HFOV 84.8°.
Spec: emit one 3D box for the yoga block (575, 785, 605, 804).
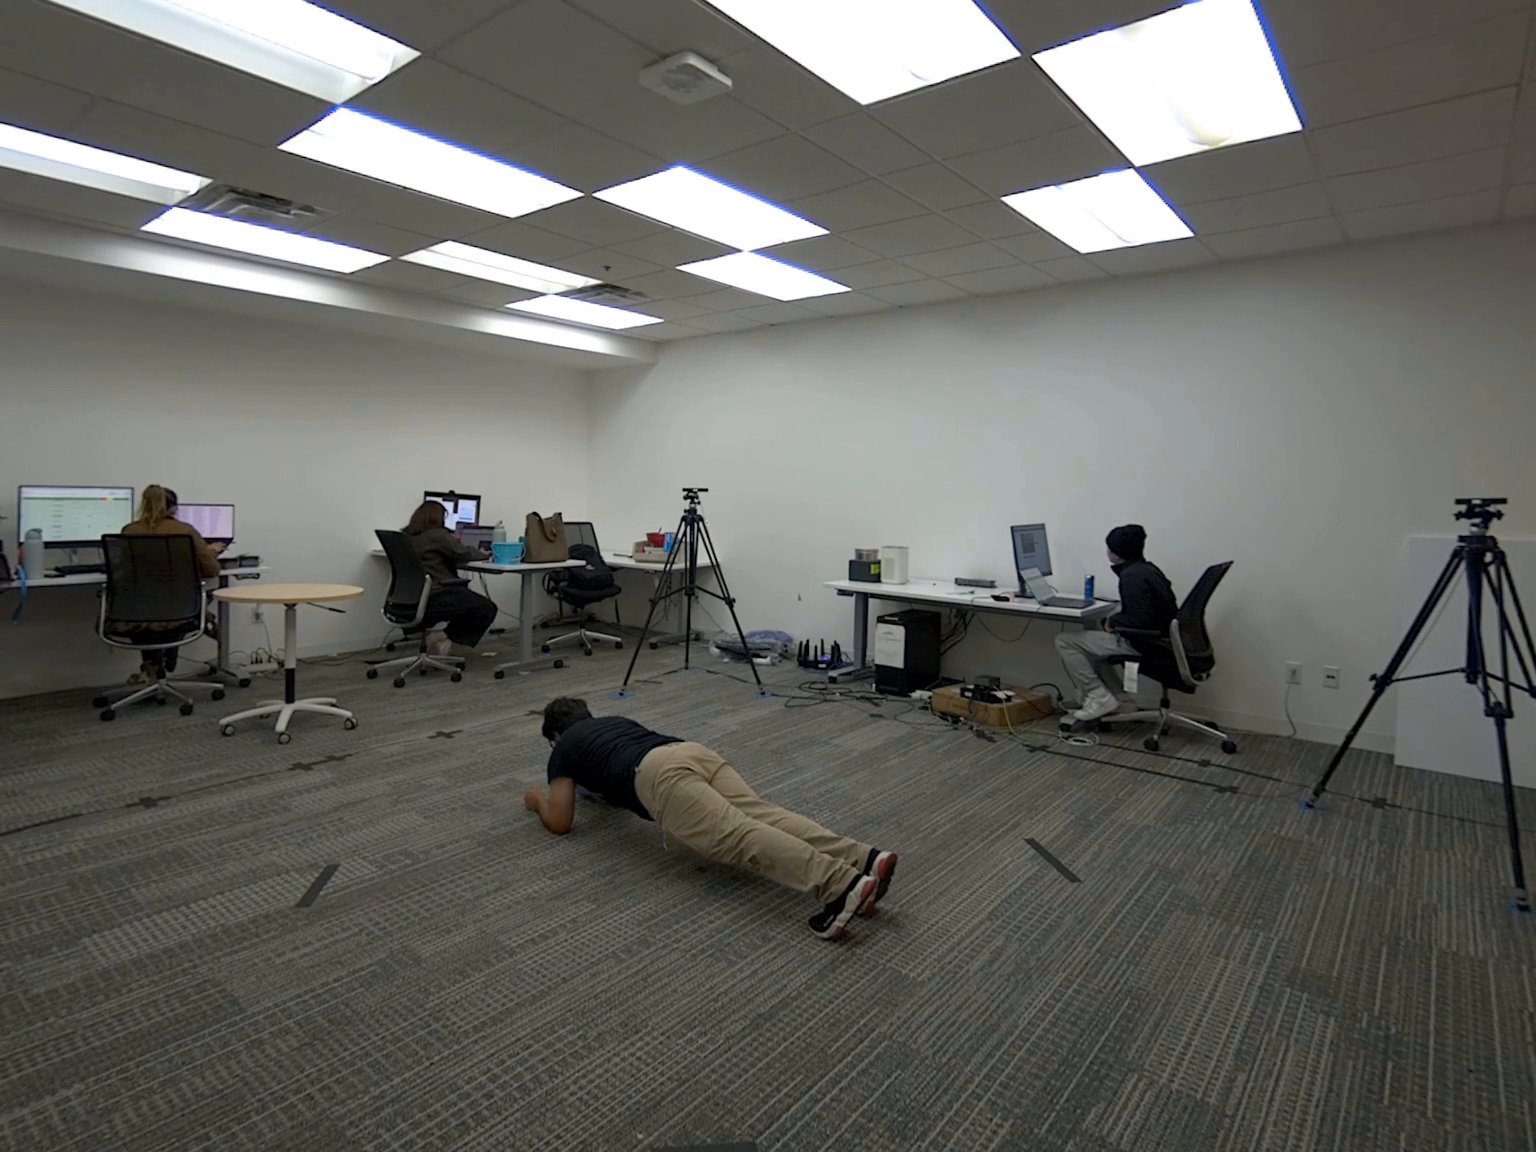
[{"bbox_3d":[-0.767,0.885,3.762,0.236,0.149,0.074,-6,-1,45],"label":"yoga block"}]
